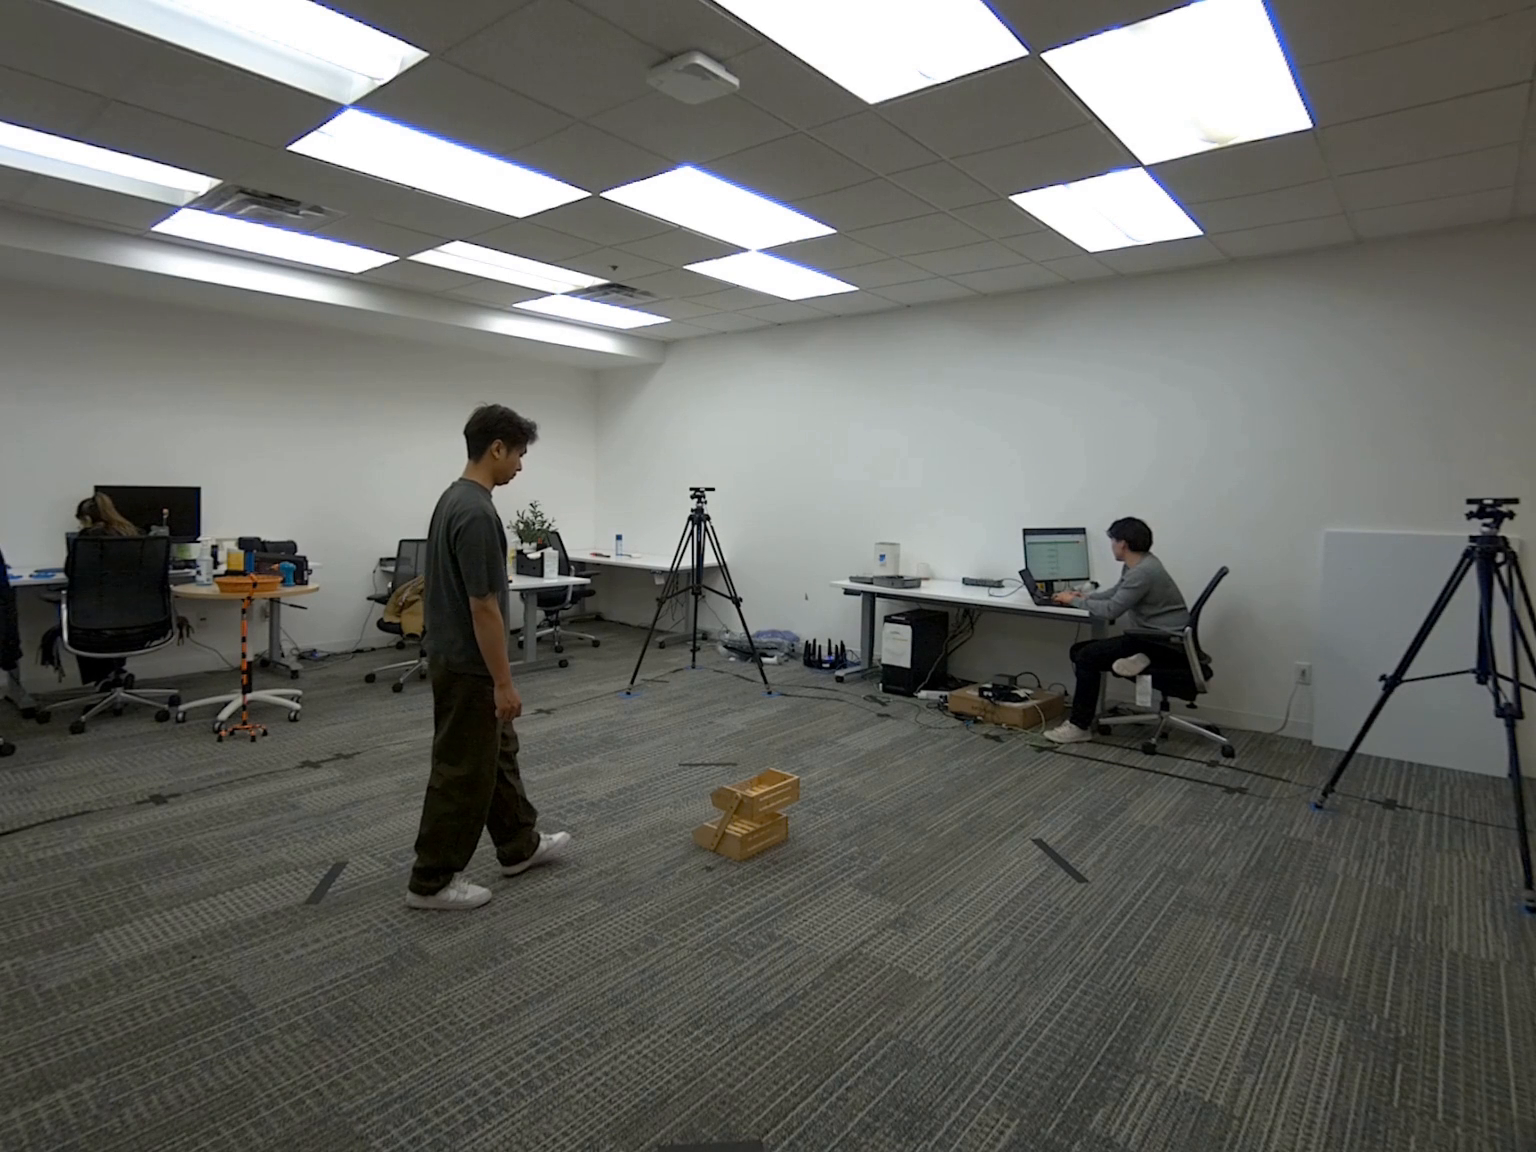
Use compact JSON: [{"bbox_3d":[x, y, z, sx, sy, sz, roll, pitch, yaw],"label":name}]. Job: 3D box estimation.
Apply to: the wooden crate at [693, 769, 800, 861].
[{"bbox_3d":[-0.098,0.912,3.350,0.312,0.272,0.315,5,6,39],"label":"wooden crate"}]
